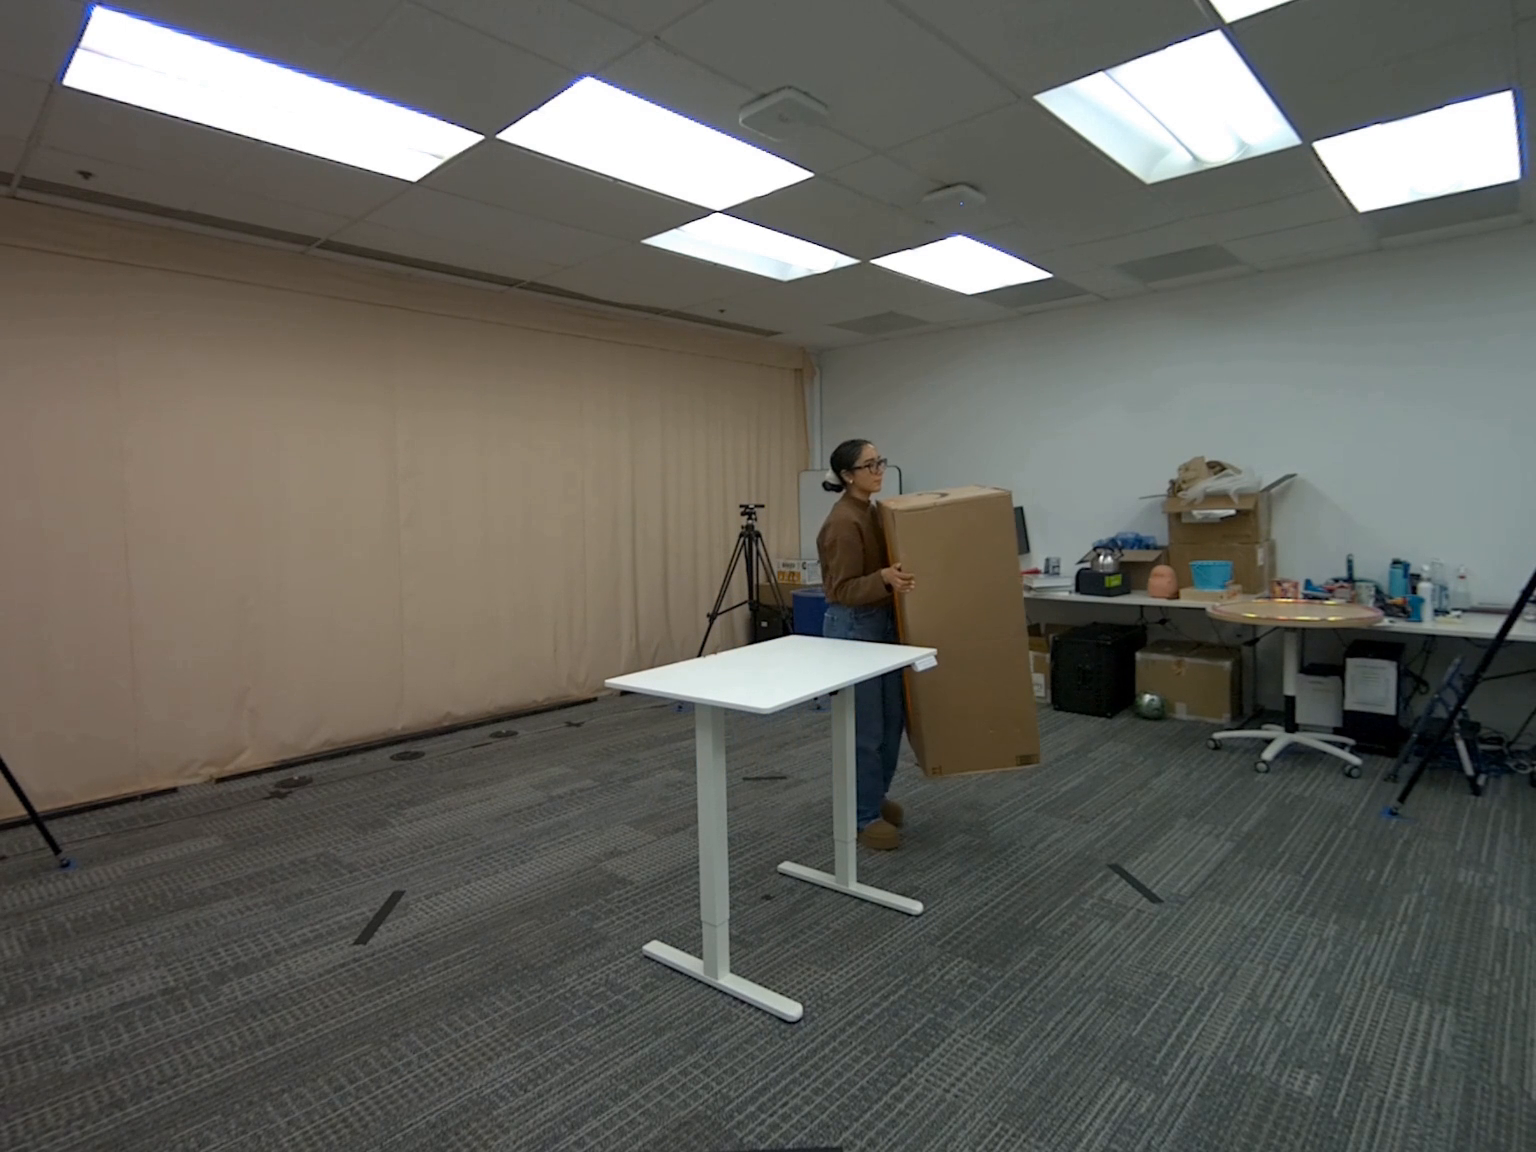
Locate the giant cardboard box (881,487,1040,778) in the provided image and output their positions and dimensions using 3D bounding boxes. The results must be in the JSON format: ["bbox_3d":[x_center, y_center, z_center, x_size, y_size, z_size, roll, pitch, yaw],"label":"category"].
[{"bbox_3d":[0.739,0.197,3.329,0.428,1.021,0.578,-8,6,3],"label":"giant cardboard box"}]
